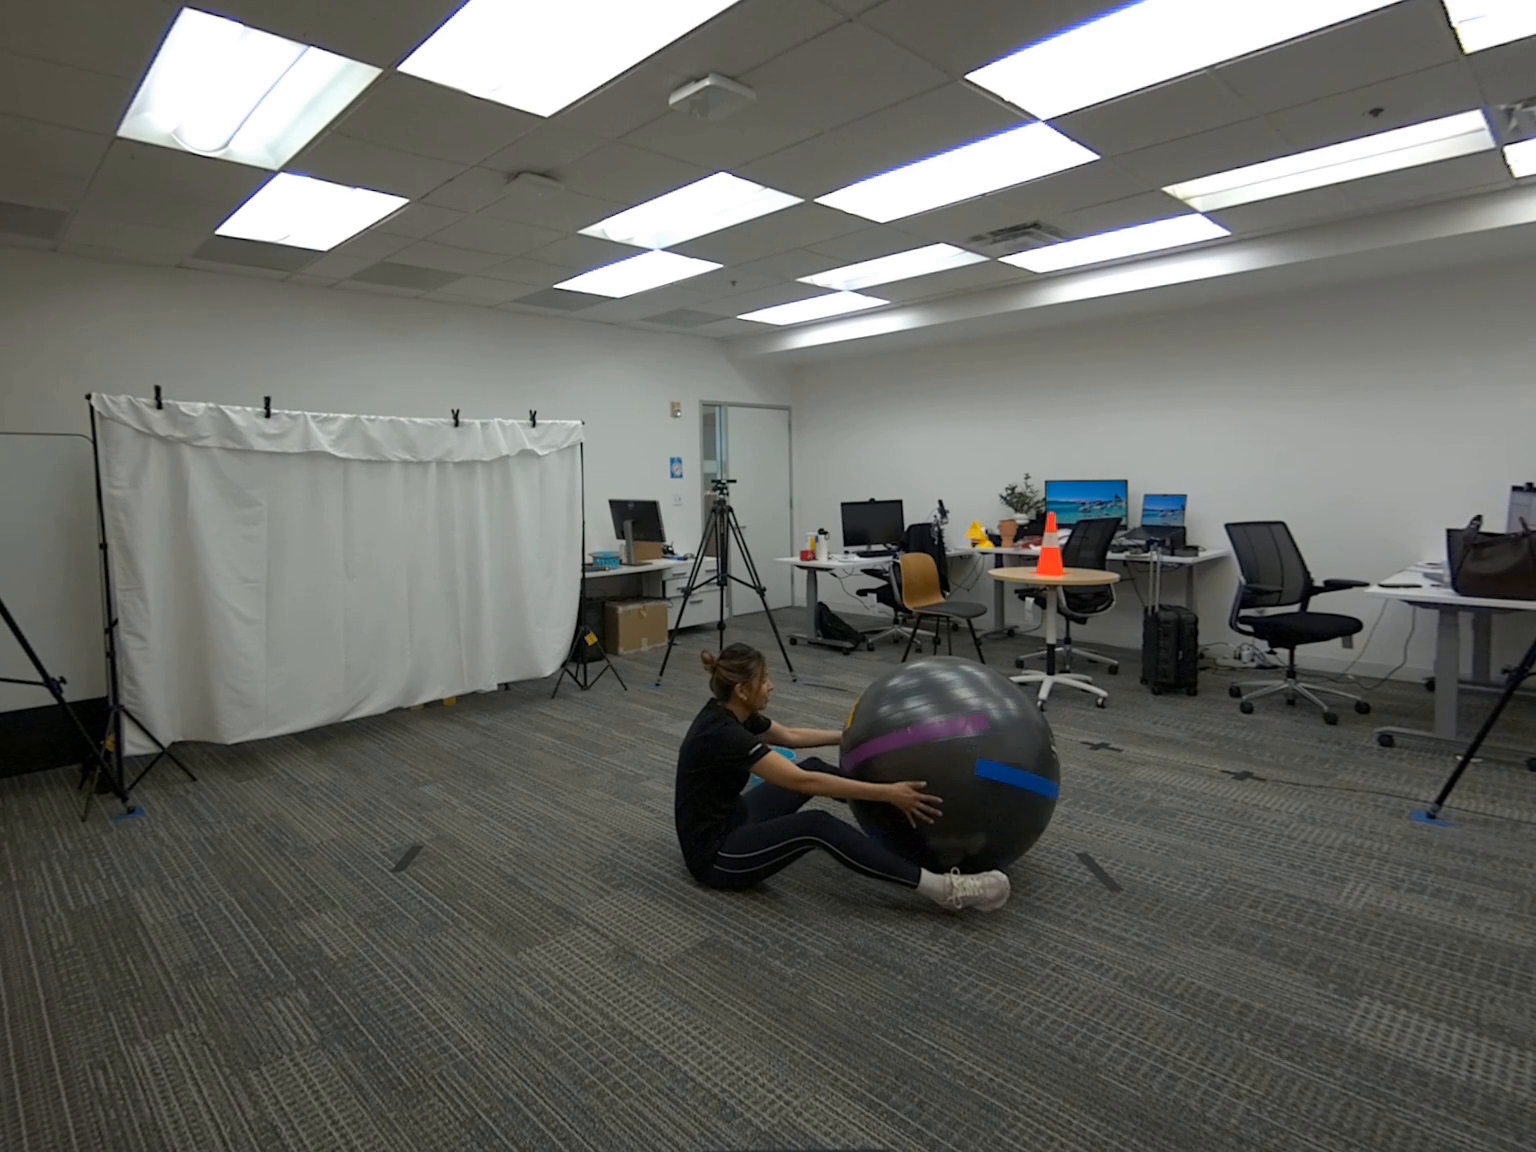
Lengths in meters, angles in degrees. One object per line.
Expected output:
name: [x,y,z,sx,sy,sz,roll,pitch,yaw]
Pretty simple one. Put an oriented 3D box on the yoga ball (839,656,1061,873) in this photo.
yoga ball: [0.643,0.655,3.047,0.757,0.755,0.762,-1,5,-2]
